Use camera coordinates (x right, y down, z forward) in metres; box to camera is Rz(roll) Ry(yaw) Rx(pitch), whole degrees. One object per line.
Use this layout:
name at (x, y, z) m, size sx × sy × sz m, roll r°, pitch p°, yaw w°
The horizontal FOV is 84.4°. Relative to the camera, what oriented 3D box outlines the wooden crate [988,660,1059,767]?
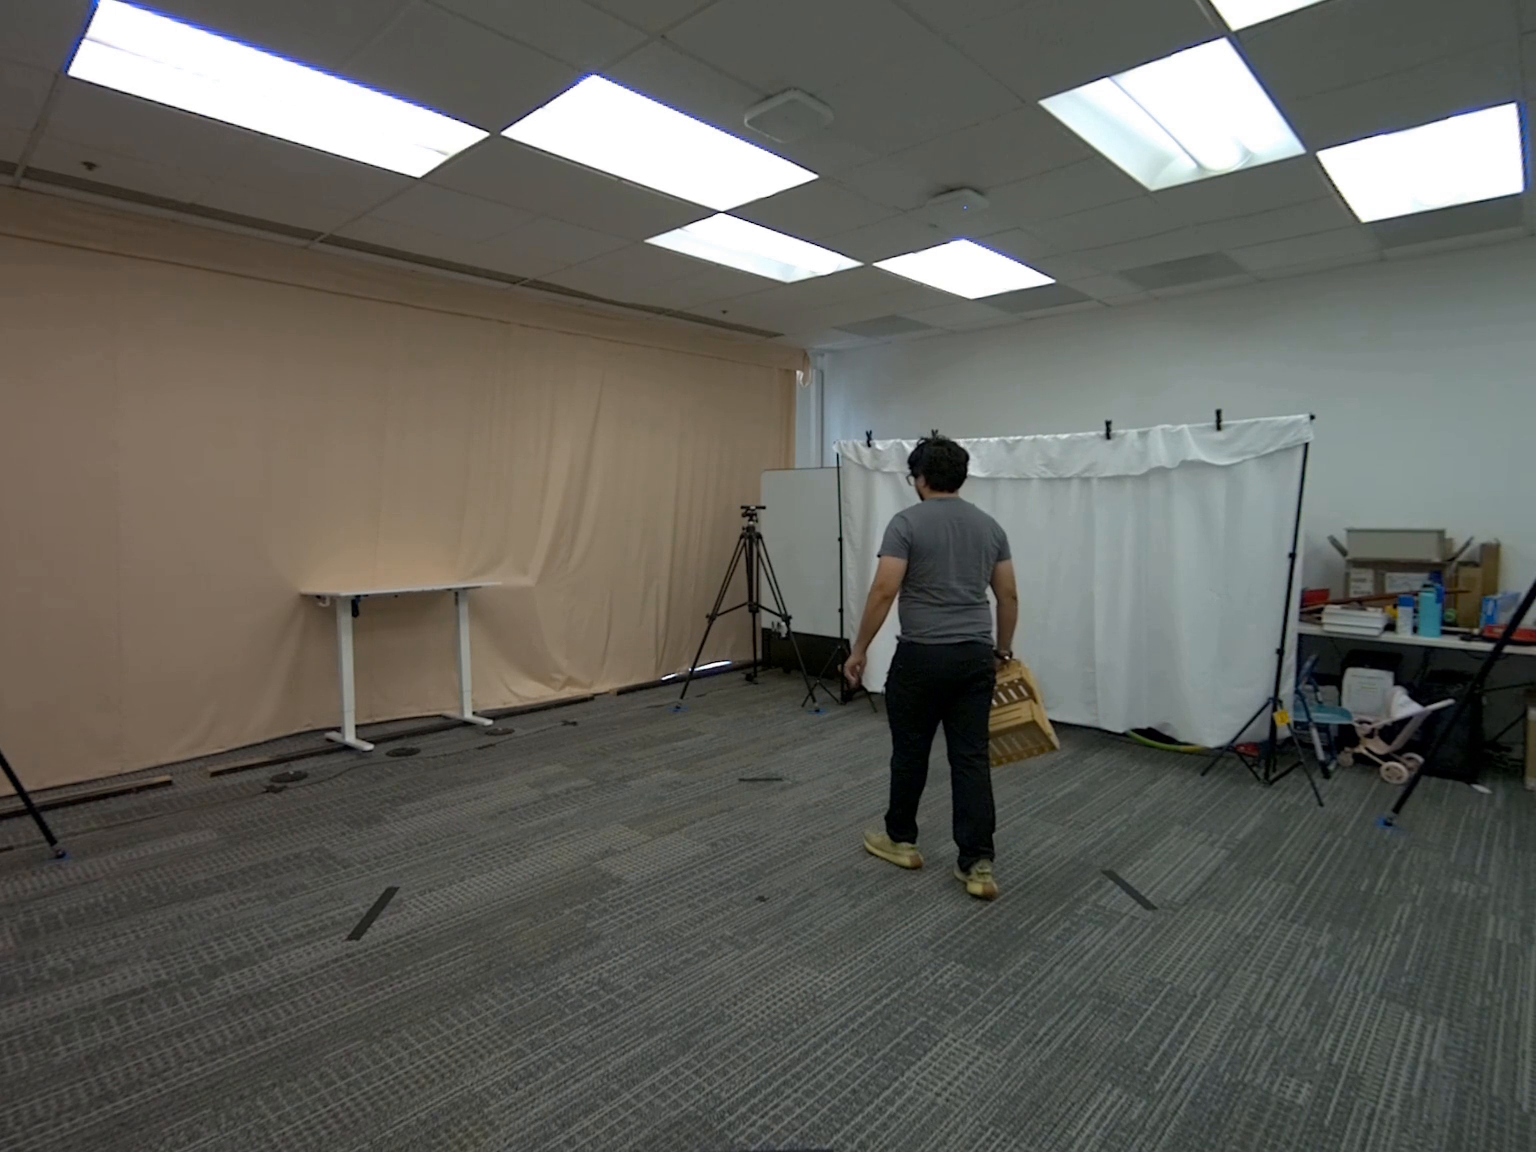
wooden crate at (0.947, 0.559, 3.390) m, size 0.330 × 0.277 × 0.292 m, roll -22°, pitch -52°, yaw 28°
